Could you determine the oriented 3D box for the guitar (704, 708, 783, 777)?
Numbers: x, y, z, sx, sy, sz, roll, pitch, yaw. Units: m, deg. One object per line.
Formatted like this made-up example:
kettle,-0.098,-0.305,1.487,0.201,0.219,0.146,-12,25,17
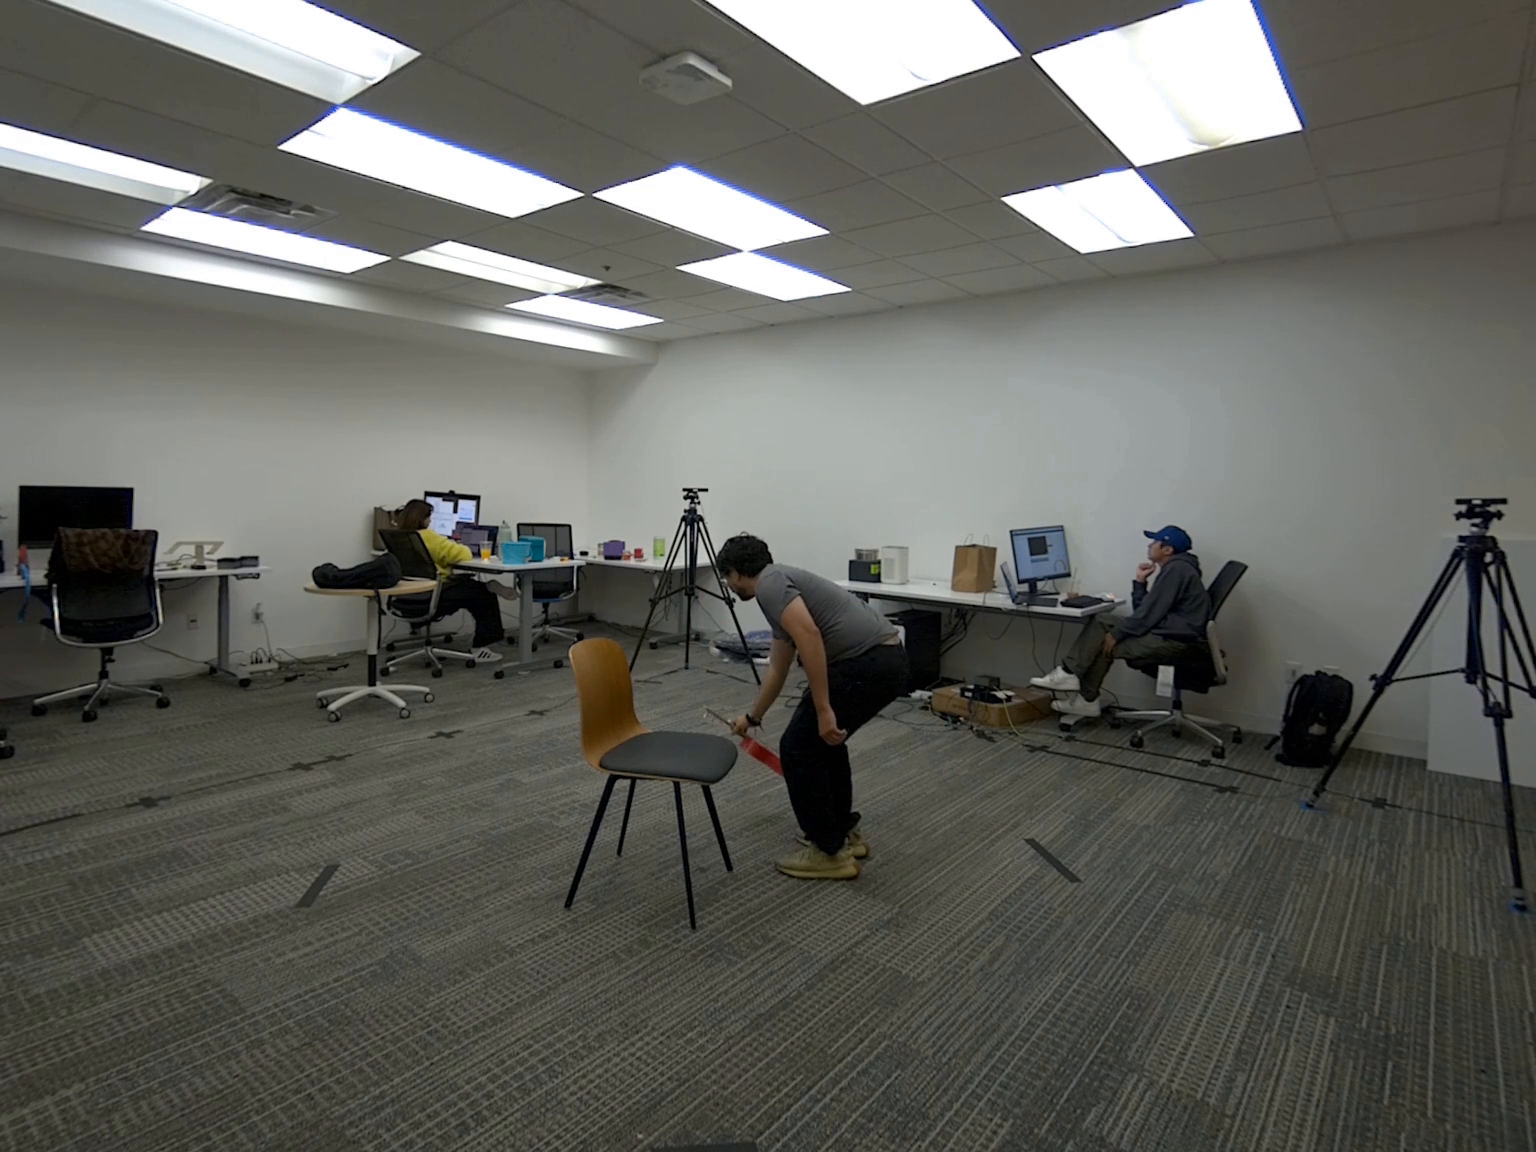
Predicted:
guitar,-0.096,0.710,3.665,0.503,0.071,0.190,33,-7,7
